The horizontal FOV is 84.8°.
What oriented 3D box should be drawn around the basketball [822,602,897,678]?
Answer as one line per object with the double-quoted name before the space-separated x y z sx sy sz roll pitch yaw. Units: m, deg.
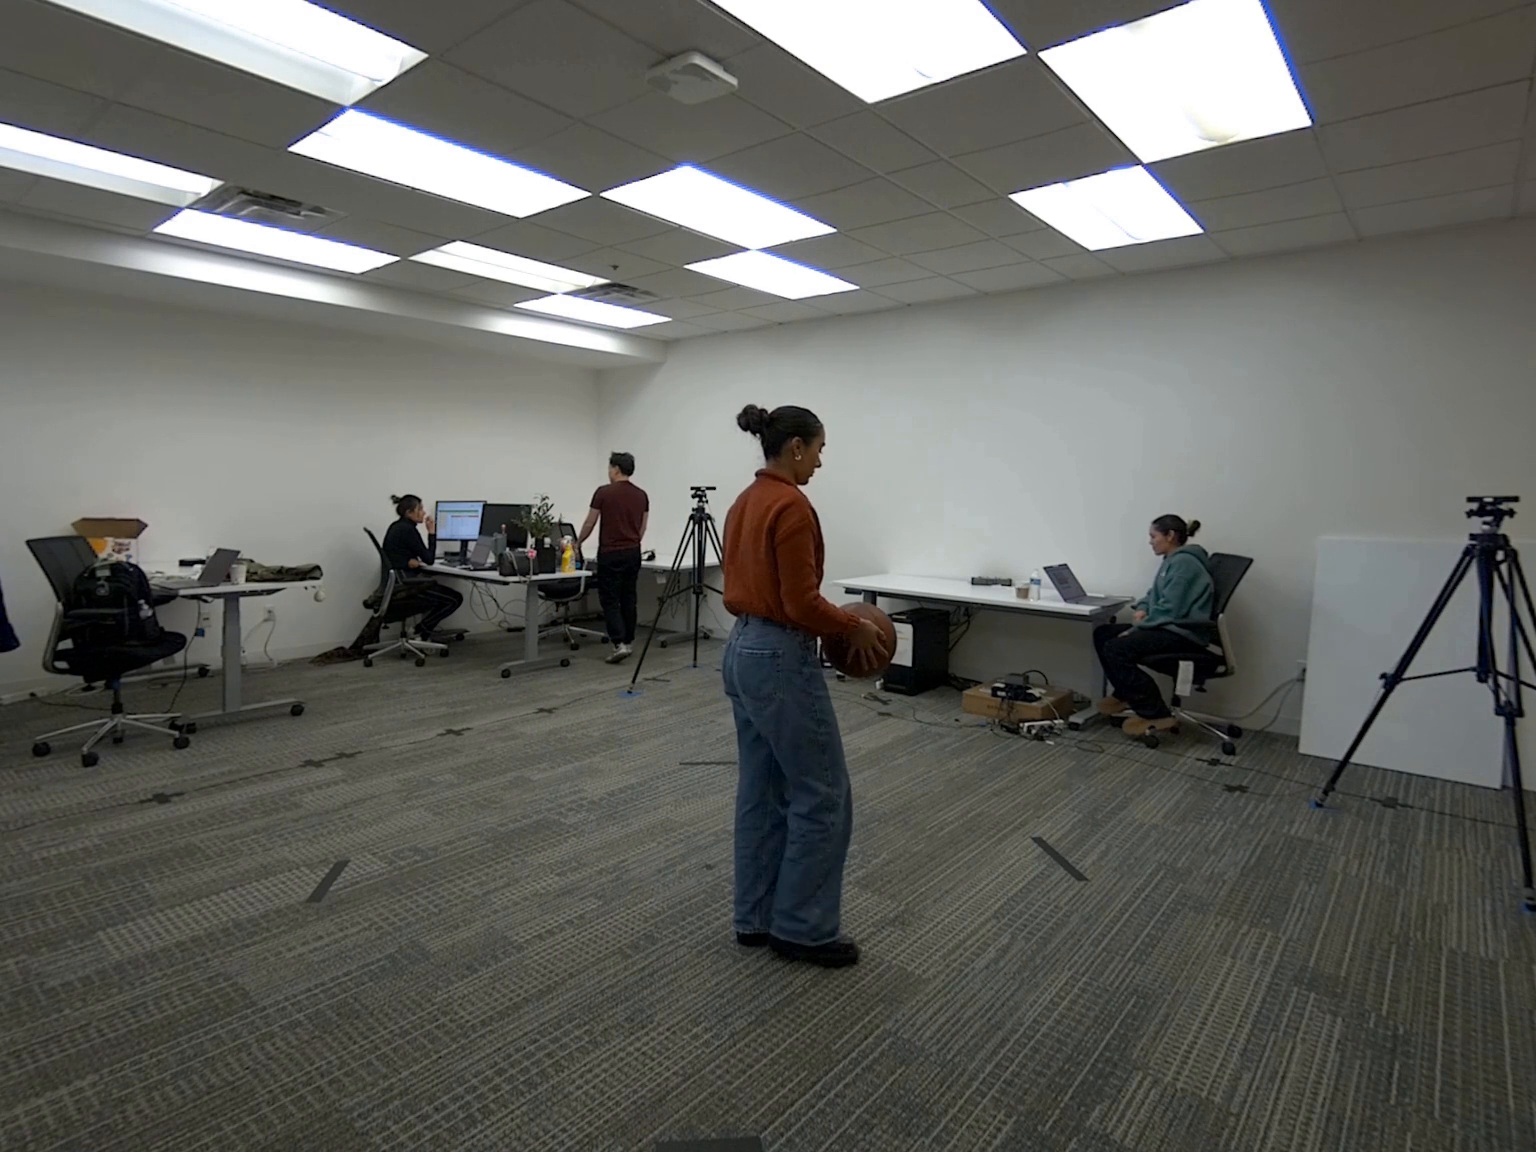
"basketball" 0.277 0.202 2.662 0.236 0.235 0.237 1 4 -2
